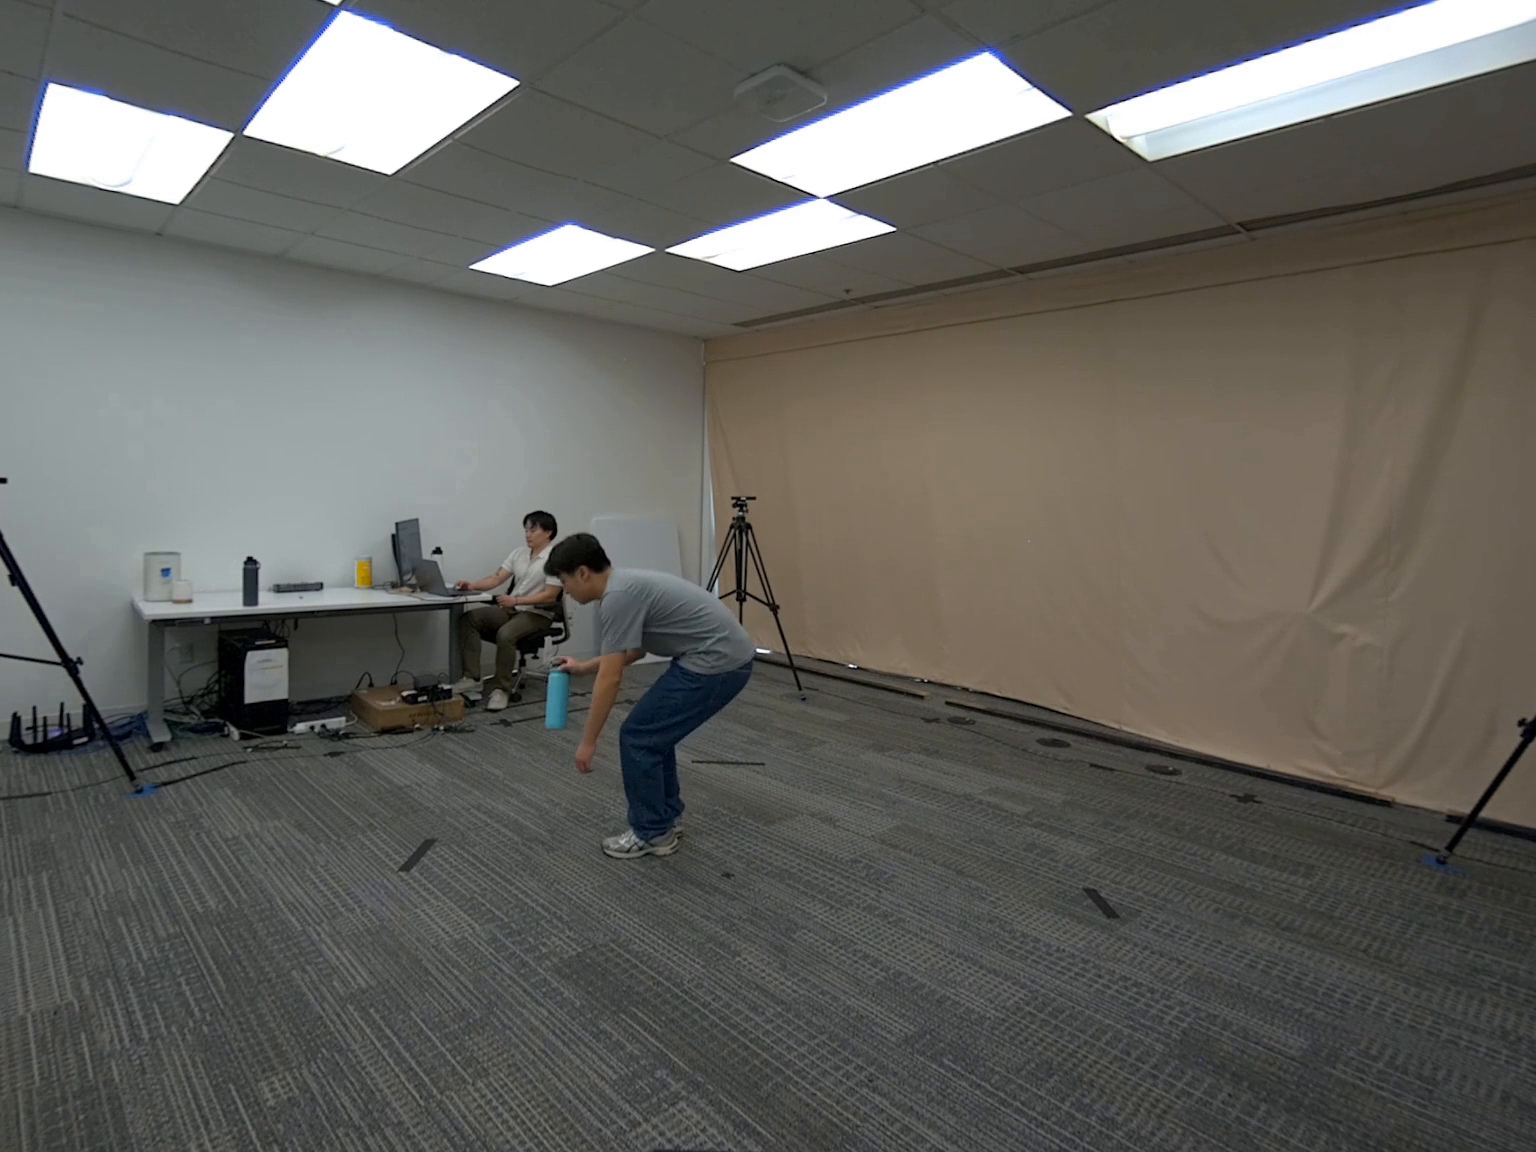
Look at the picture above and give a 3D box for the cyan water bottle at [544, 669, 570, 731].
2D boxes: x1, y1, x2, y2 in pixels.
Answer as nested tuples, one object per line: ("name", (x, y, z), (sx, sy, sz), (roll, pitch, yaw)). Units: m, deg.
("cyan water bottle", (-0.880, 0.493, 3.523), (0.092, 0.286, 0.091), (0, -13, -1))
